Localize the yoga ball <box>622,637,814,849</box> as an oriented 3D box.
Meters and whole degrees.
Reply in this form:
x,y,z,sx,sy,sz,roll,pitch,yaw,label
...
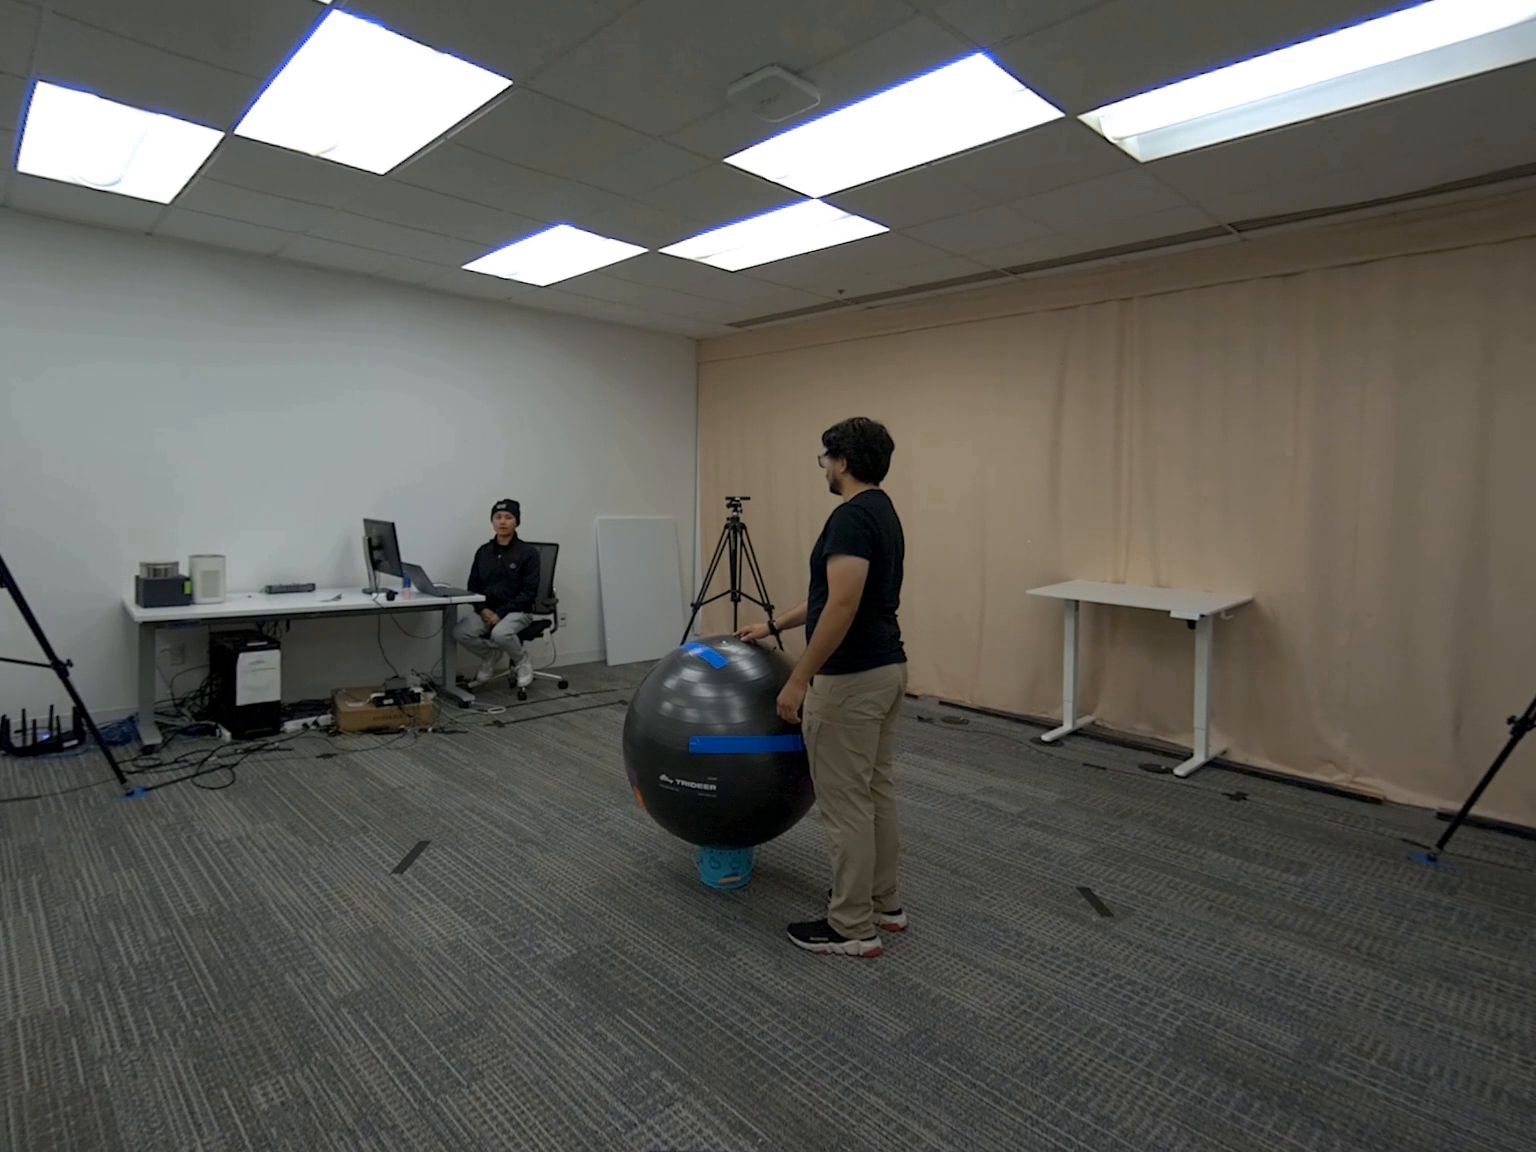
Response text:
x,y,z,sx,sy,sz,roll,pitch,yaw,label
-0.155,0.602,3.054,0.757,0.756,0.760,1,4,-1,yoga ball
